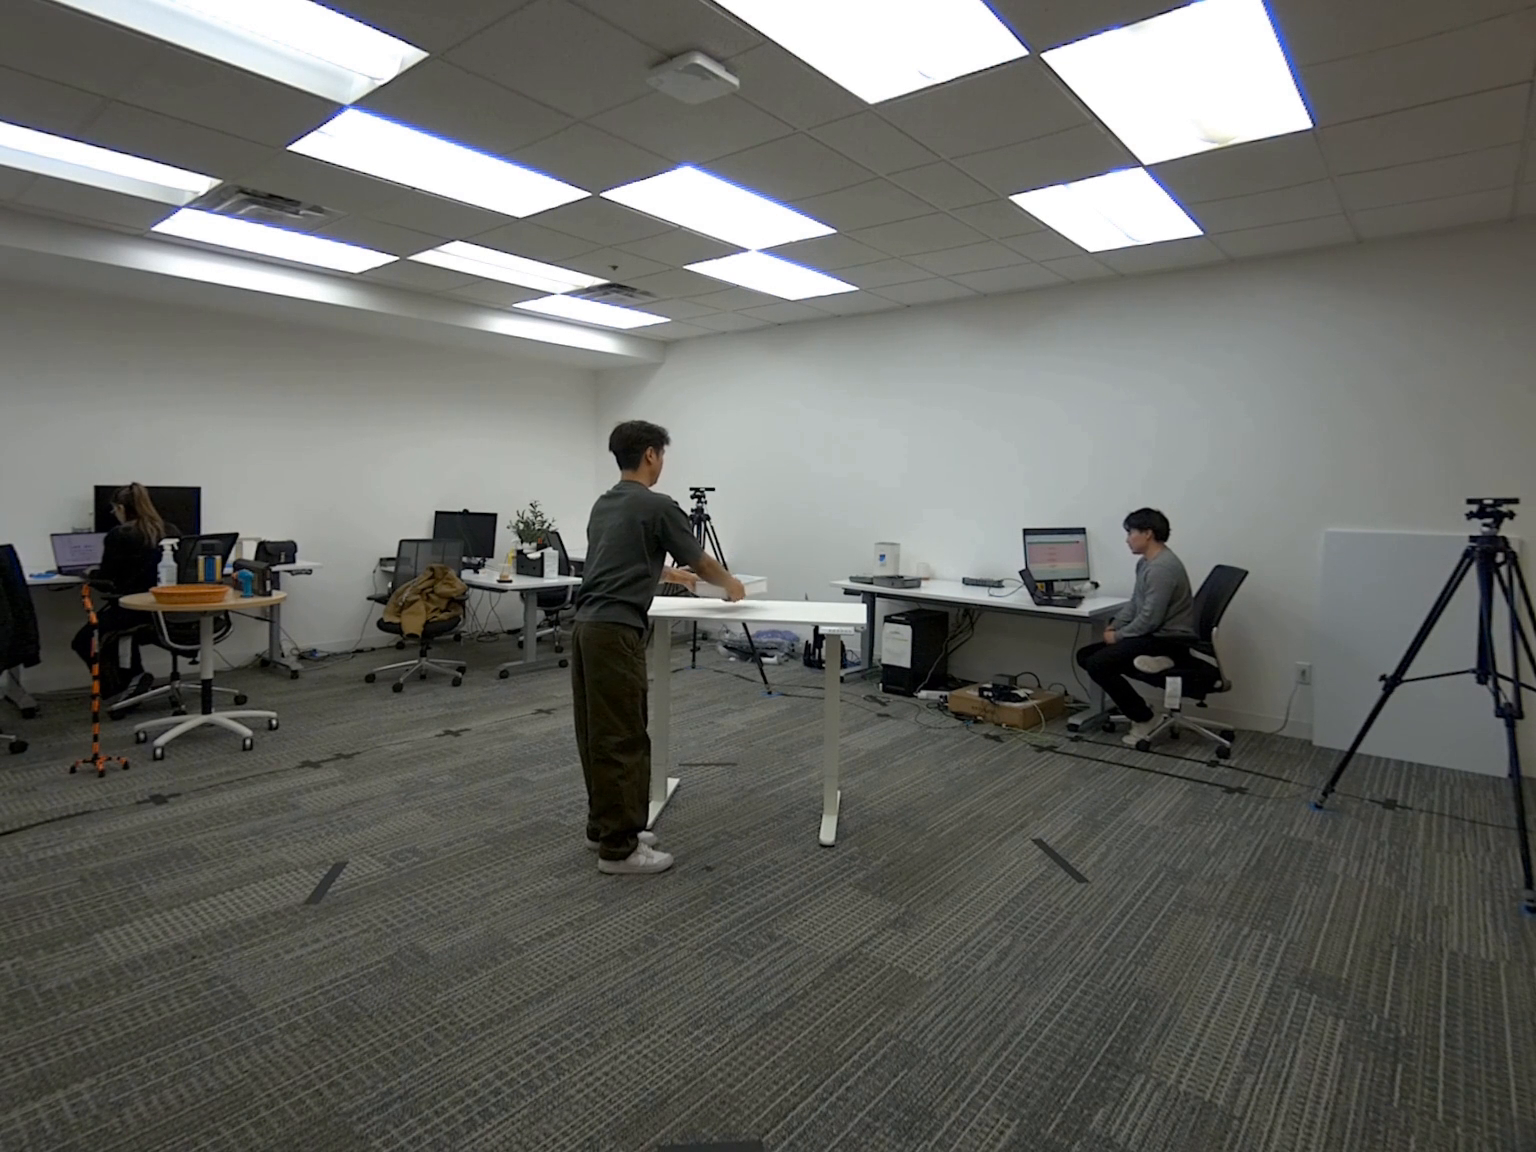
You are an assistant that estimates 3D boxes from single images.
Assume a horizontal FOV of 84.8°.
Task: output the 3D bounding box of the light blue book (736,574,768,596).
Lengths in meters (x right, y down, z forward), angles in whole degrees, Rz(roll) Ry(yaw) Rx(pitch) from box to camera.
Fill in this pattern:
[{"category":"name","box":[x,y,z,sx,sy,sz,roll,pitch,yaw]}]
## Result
[{"category":"light blue book","box":[-0.167,0.033,3.635,0.198,0.058,0.254,5,11,37]}]
